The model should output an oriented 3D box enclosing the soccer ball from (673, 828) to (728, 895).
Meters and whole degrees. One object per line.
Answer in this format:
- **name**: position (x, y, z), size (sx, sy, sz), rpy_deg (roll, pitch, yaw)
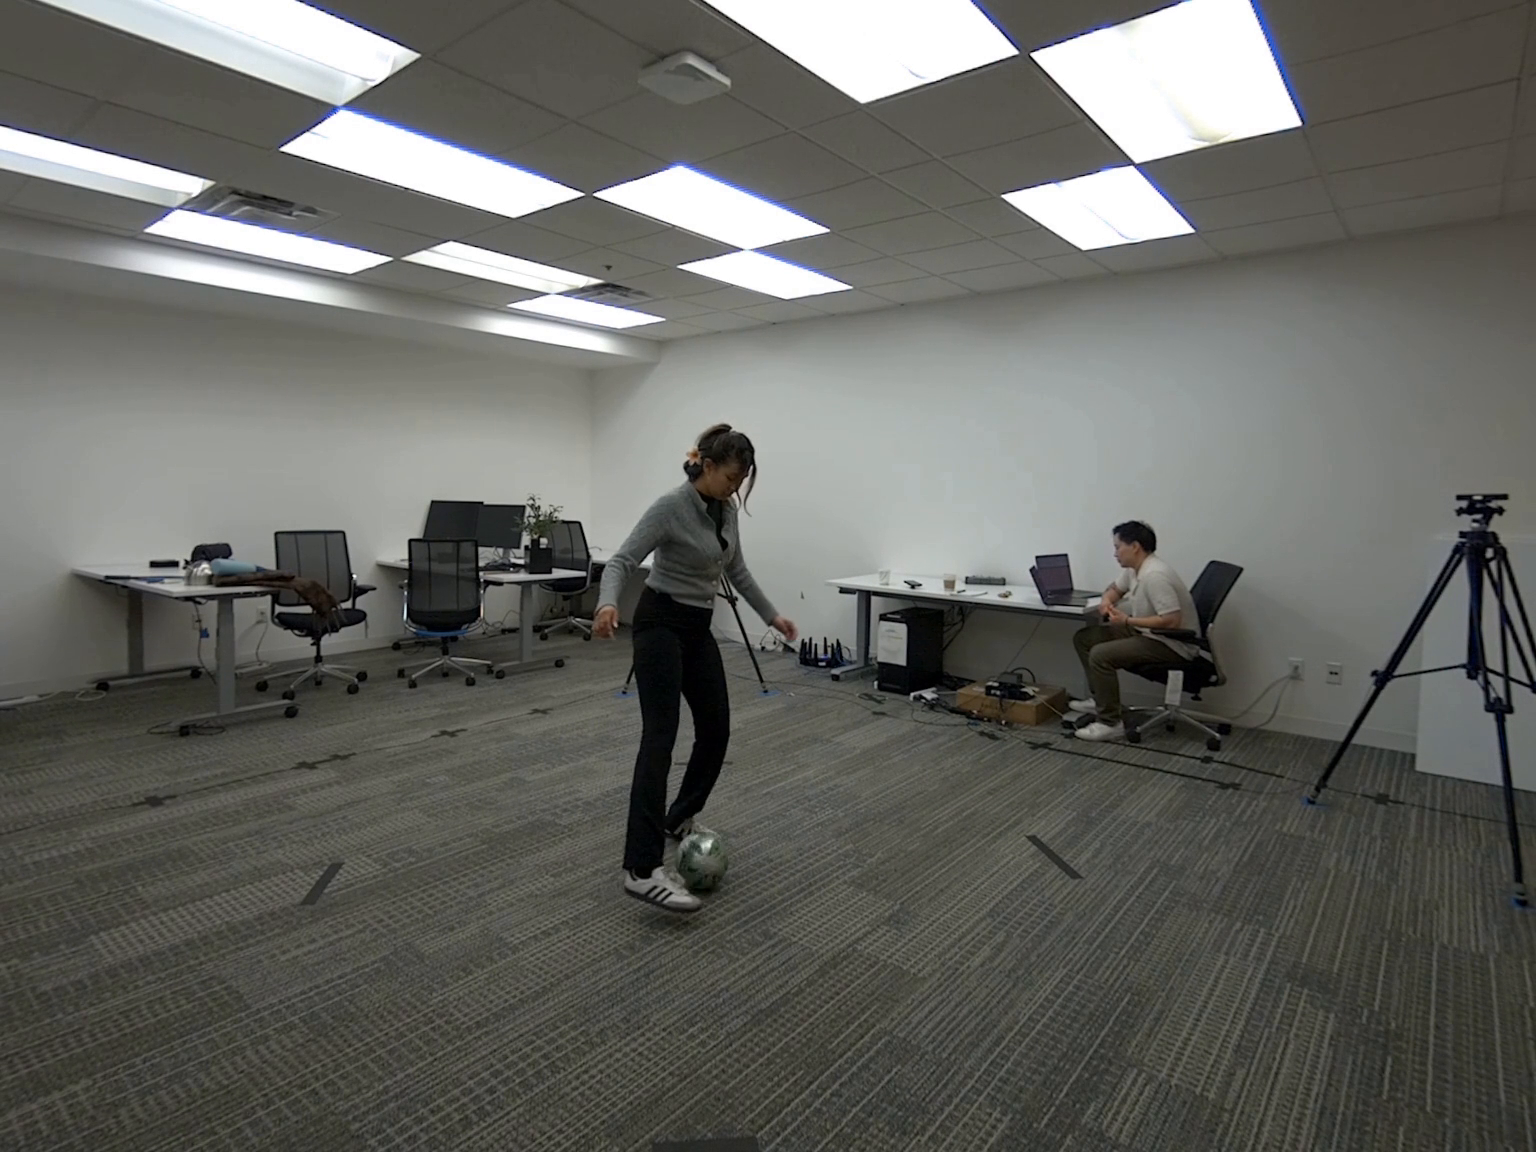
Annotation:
- **soccer ball**: position (-0.235, 0.980, 2.970), size (0.187, 0.187, 0.188), rpy_deg (1, 4, -2)
